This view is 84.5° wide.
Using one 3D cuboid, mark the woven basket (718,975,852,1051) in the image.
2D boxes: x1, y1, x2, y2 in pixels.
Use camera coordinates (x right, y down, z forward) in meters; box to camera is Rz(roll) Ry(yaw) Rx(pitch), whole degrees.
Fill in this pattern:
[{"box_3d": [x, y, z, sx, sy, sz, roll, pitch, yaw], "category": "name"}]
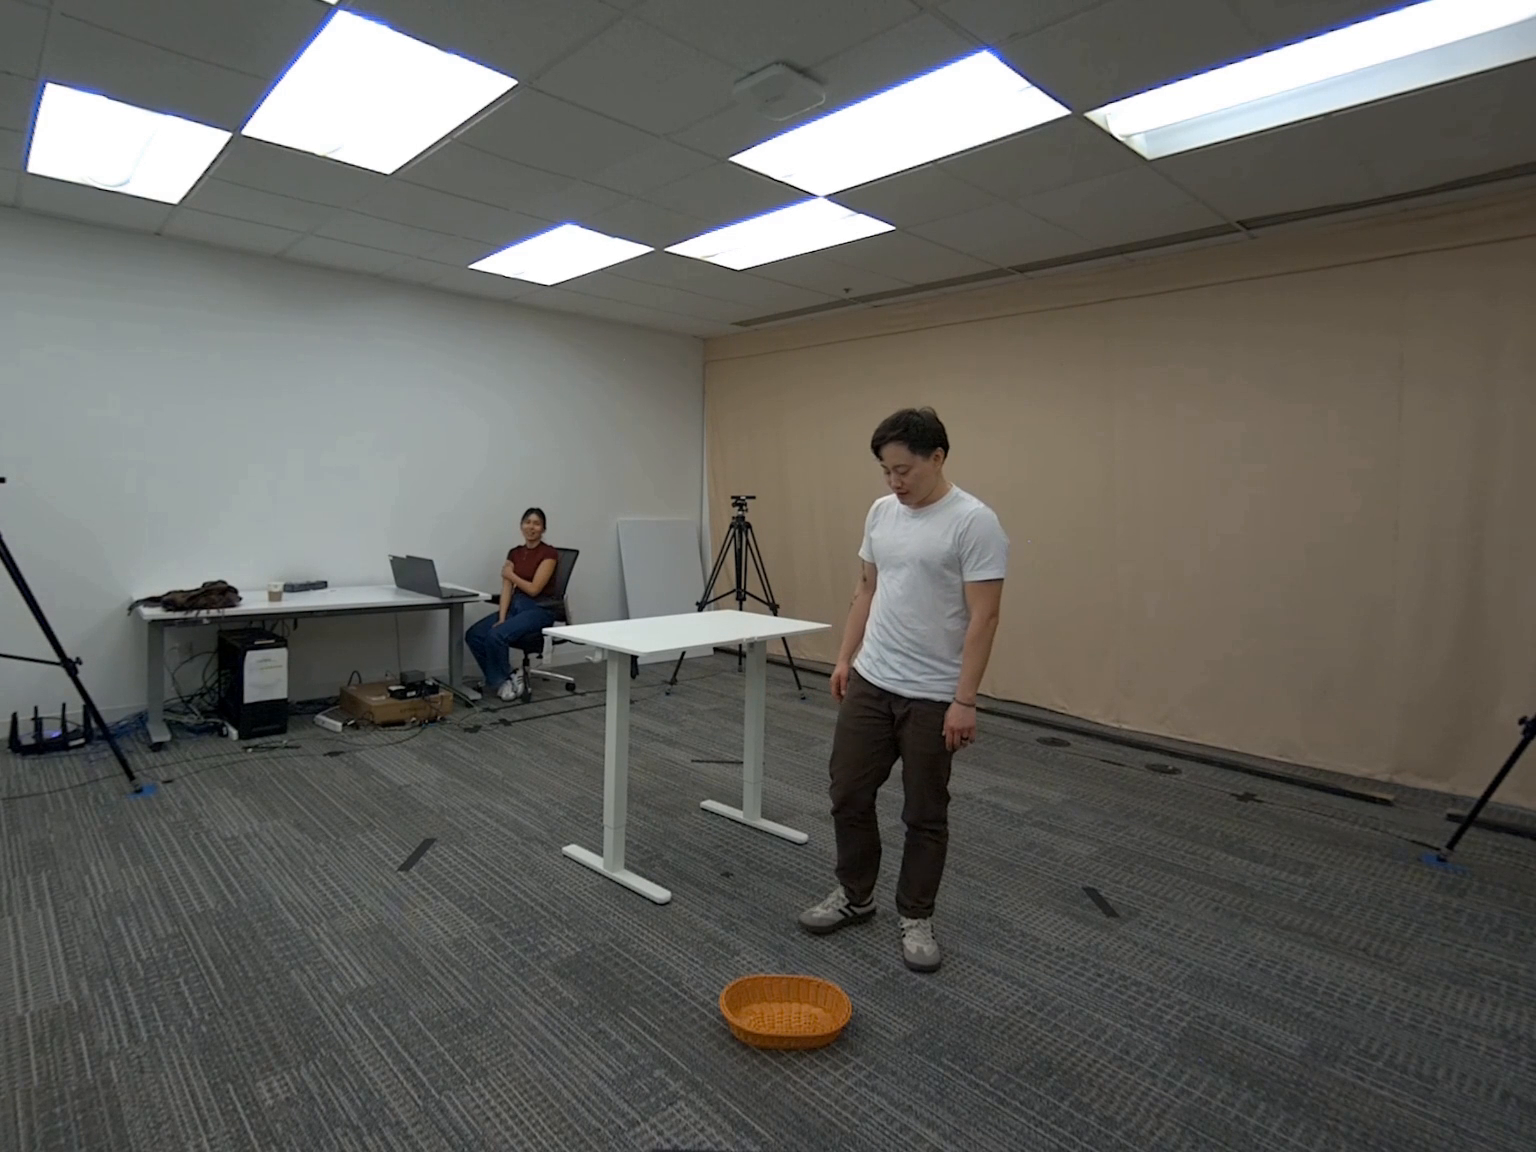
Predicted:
[{"box_3d": [0.038, 1.152, 2.211, 0.351, 0.073, 0.253, 2, 6, 3], "category": "woven basket"}]
